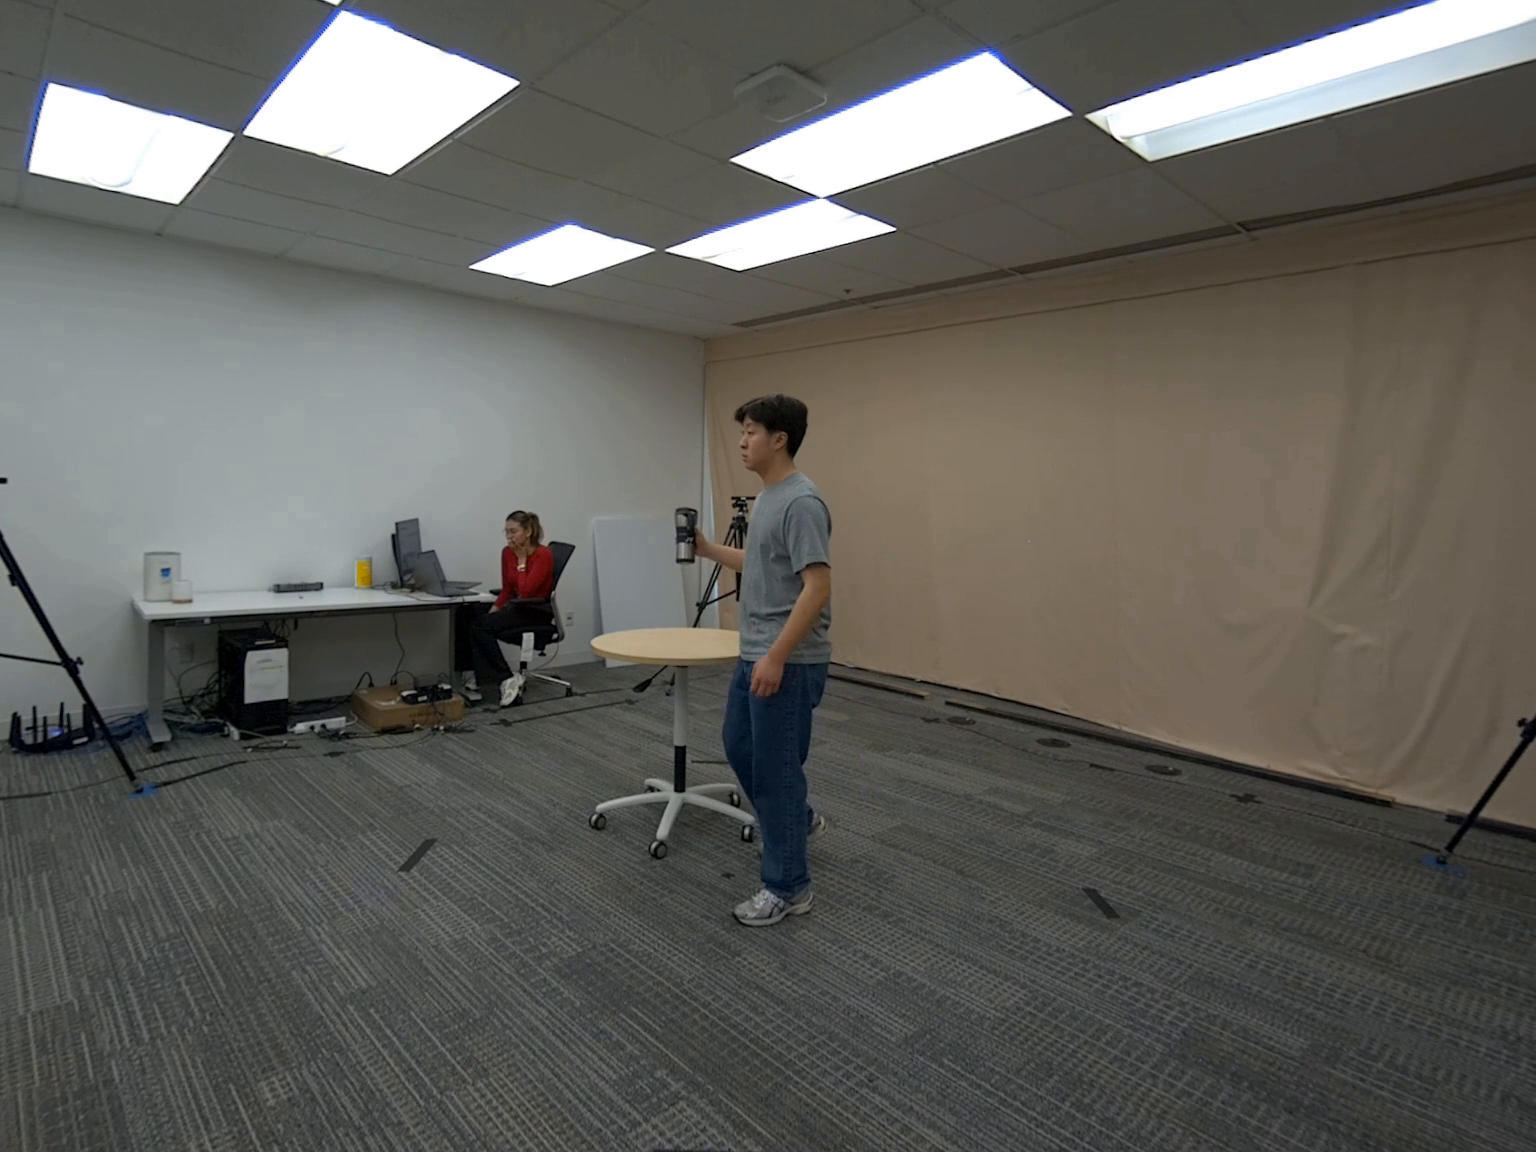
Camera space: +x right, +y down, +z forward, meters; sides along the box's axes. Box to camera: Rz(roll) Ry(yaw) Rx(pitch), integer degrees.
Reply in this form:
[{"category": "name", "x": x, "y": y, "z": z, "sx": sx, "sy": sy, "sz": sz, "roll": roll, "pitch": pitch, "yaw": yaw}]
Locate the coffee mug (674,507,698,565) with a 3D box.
[{"category": "coffee mug", "x": -0.326, "y": -0.136, "z": 3.151, "sx": 0.119, "sy": 0.204, "sz": 0.090, "roll": 11, "pitch": -9, "yaw": -40}]
